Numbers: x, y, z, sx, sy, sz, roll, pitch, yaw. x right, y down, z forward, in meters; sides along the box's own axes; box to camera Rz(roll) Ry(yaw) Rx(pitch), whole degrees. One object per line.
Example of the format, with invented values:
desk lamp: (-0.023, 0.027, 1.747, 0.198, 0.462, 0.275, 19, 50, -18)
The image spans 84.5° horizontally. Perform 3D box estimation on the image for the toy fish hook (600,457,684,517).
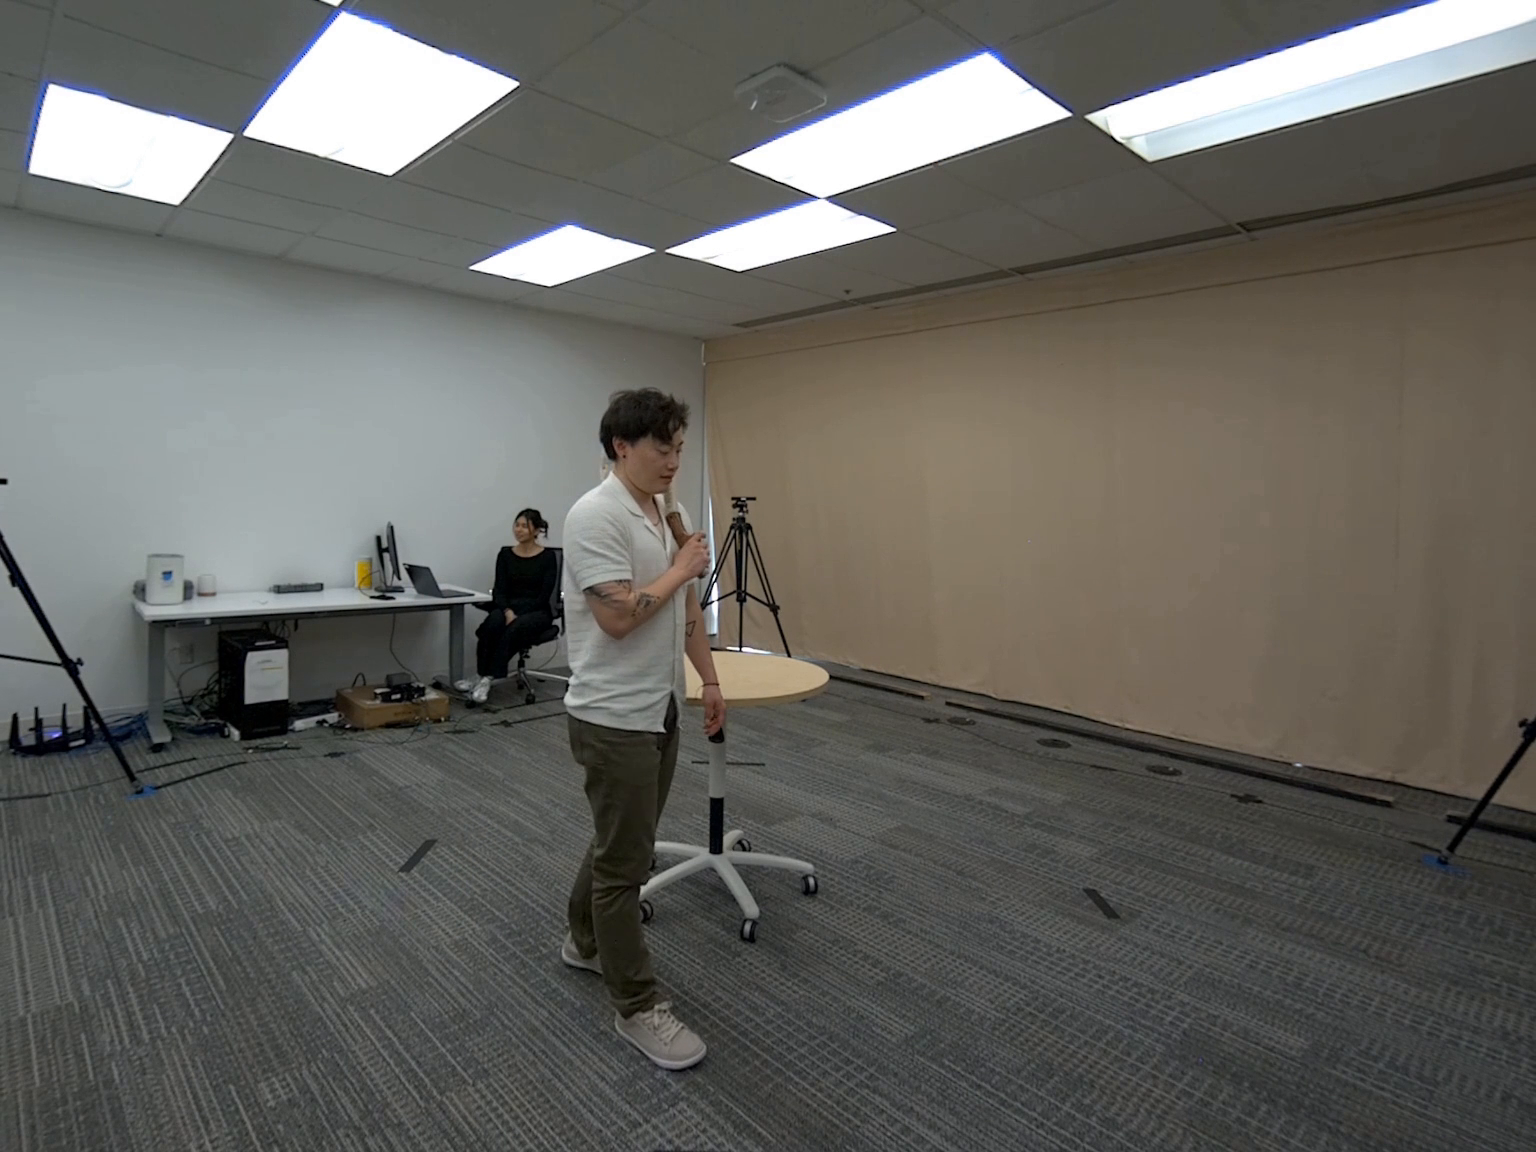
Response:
toy fish hook: (-0.324, -0.187, 2.305, 0.225, 0.517, 0.047, -32, -21, 14)
